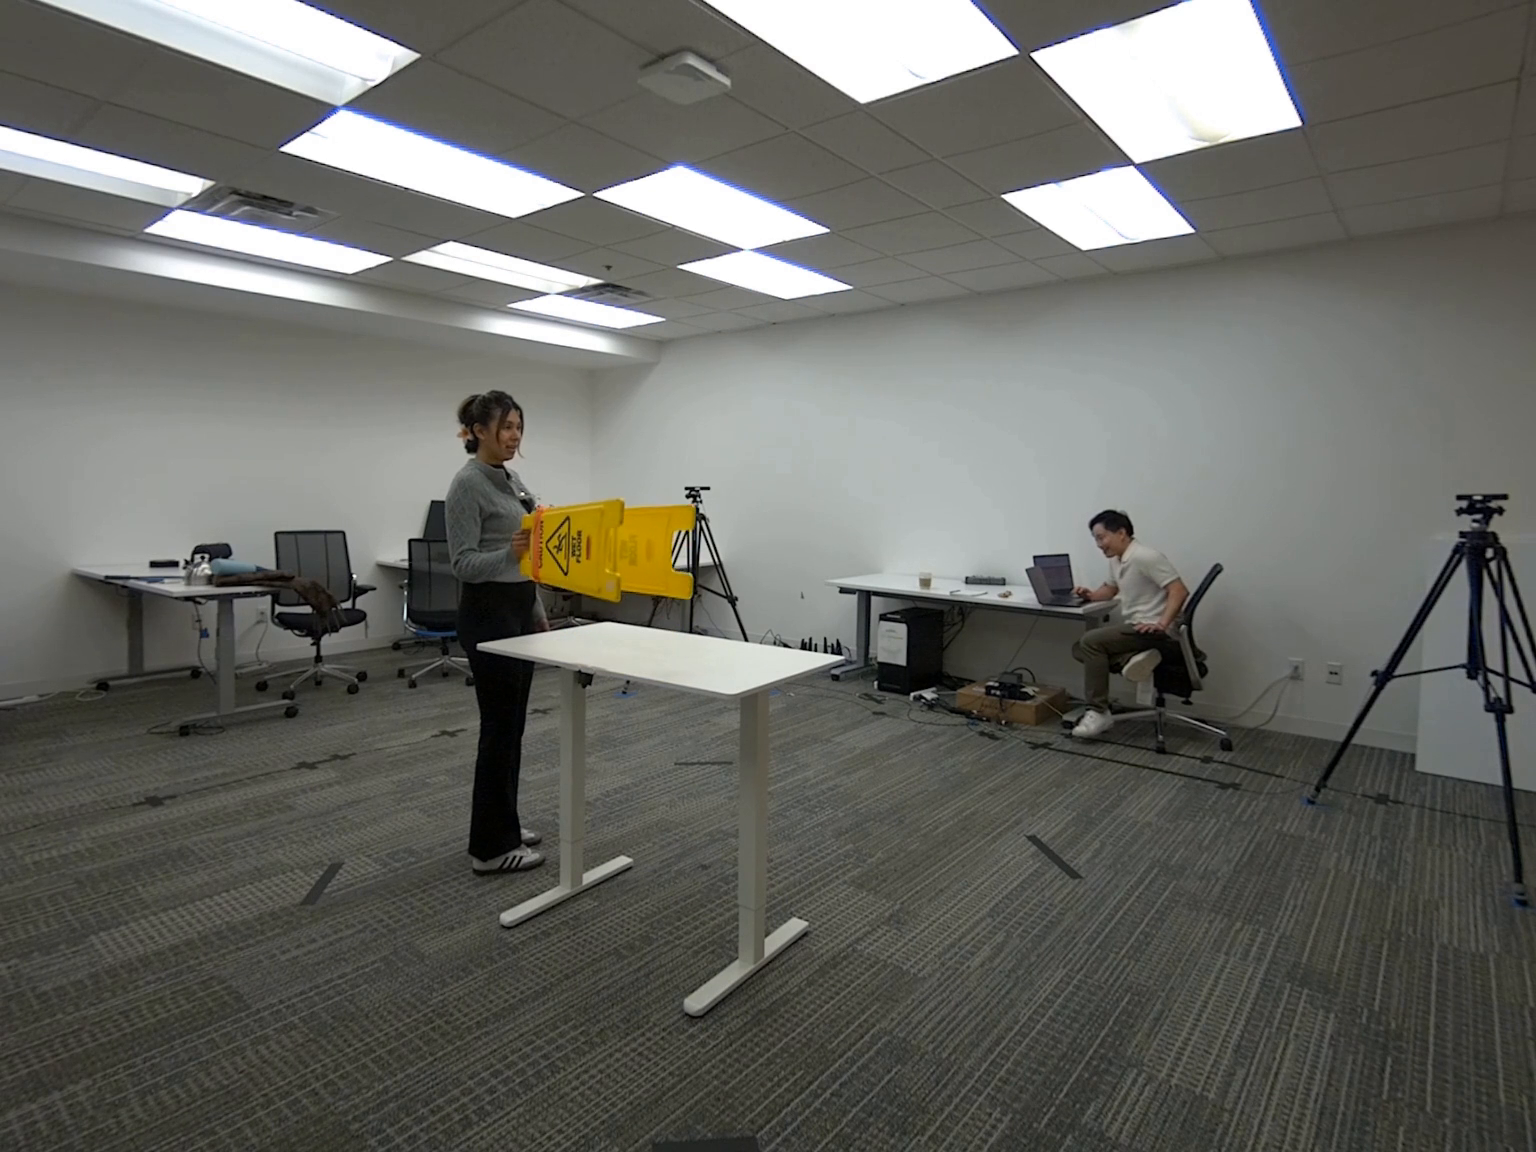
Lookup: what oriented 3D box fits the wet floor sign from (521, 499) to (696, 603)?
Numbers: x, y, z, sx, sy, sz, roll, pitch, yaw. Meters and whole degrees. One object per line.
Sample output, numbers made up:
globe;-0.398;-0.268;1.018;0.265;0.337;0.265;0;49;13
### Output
wet floor sign;-0.571;-0.084;2.602;0.667;0.282;0.280;4;2;39
